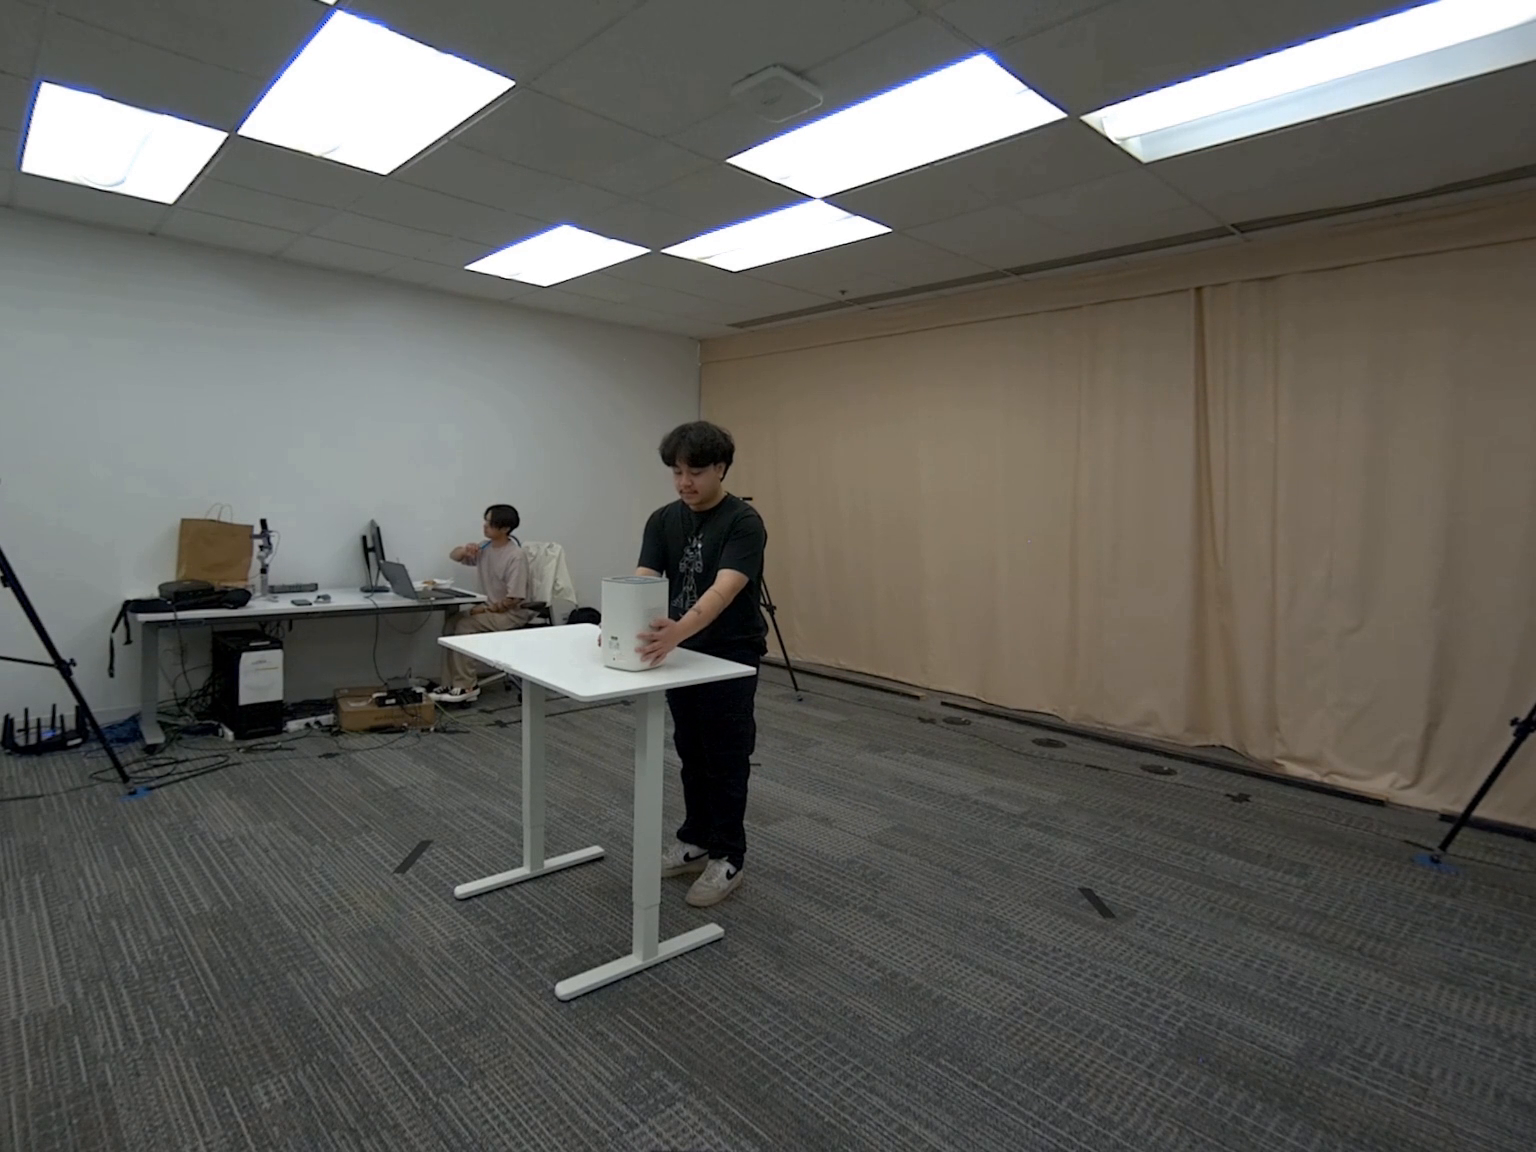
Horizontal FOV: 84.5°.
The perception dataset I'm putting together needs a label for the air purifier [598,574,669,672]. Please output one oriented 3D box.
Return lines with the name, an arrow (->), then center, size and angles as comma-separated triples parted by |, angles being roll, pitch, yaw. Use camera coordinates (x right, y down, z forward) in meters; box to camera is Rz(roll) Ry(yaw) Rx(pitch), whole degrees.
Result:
air purifier -> -0.413, 0.141, 2.521 | 0.175, 0.264, 0.168 | 6, 6, 37
